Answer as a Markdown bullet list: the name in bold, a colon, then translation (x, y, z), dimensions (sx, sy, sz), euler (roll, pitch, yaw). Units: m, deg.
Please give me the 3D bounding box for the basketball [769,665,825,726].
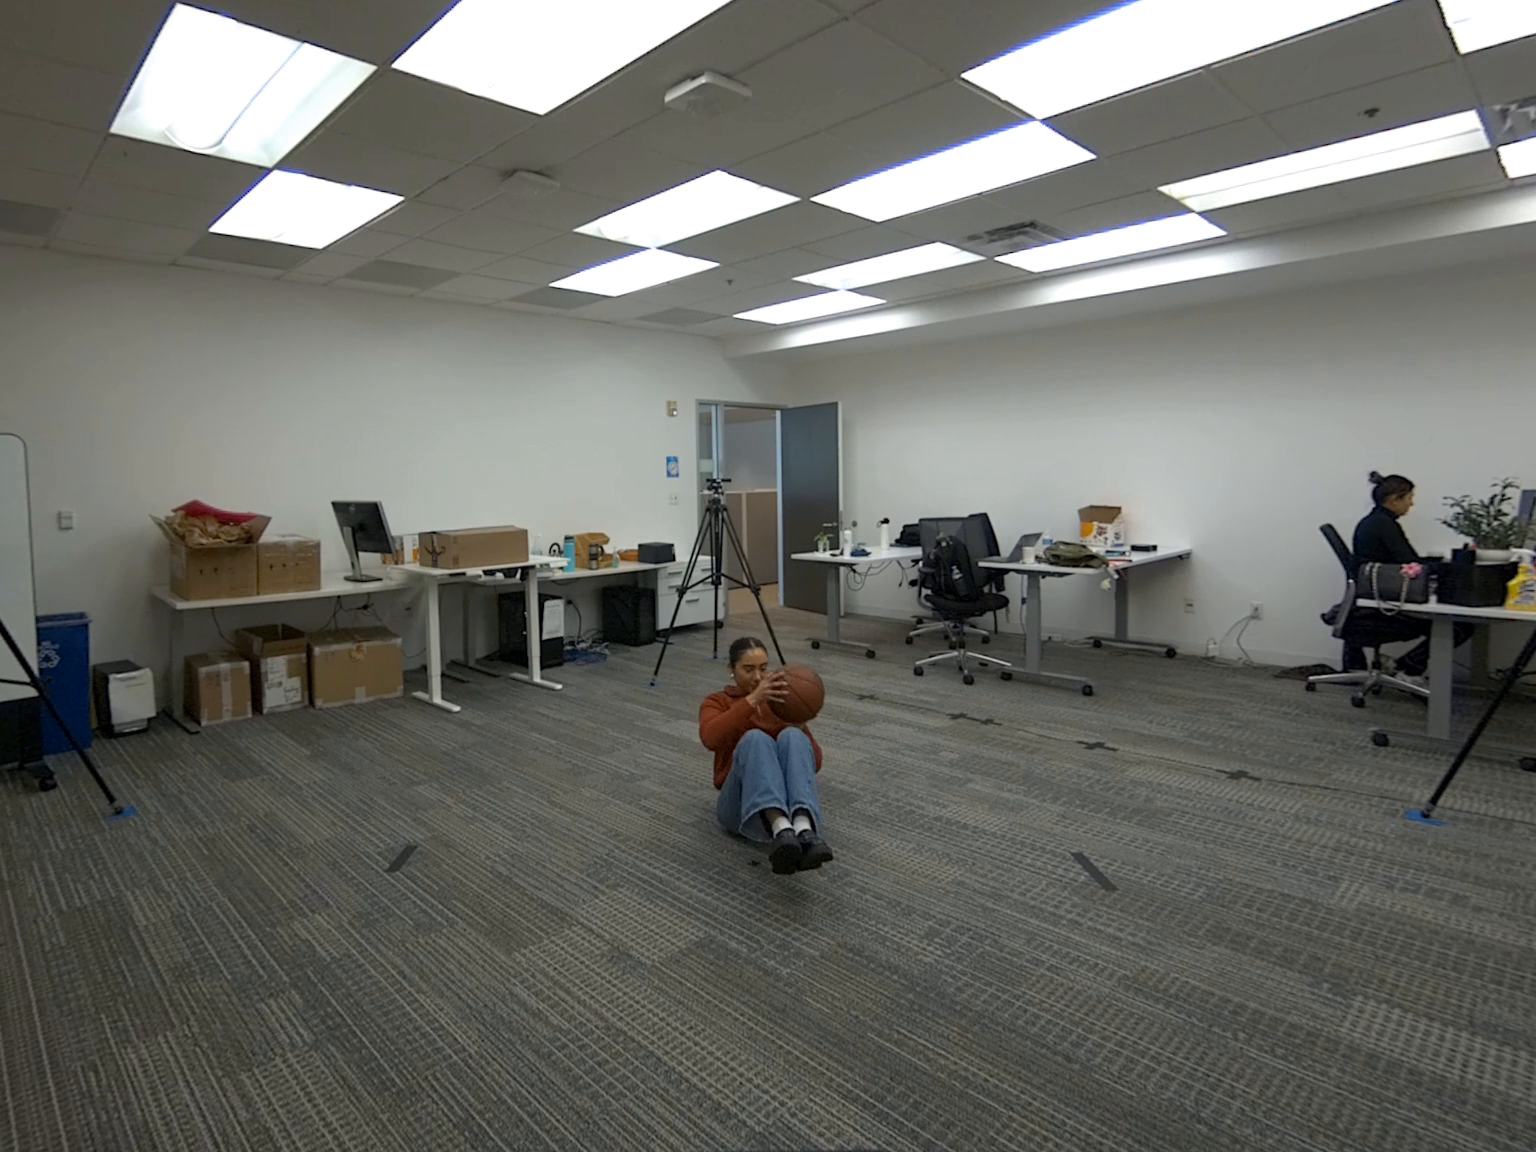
- **basketball**: translation (0.105, 0.491, 3.420), dimensions (0.236, 0.235, 0.237), euler (-1, 5, -2)
